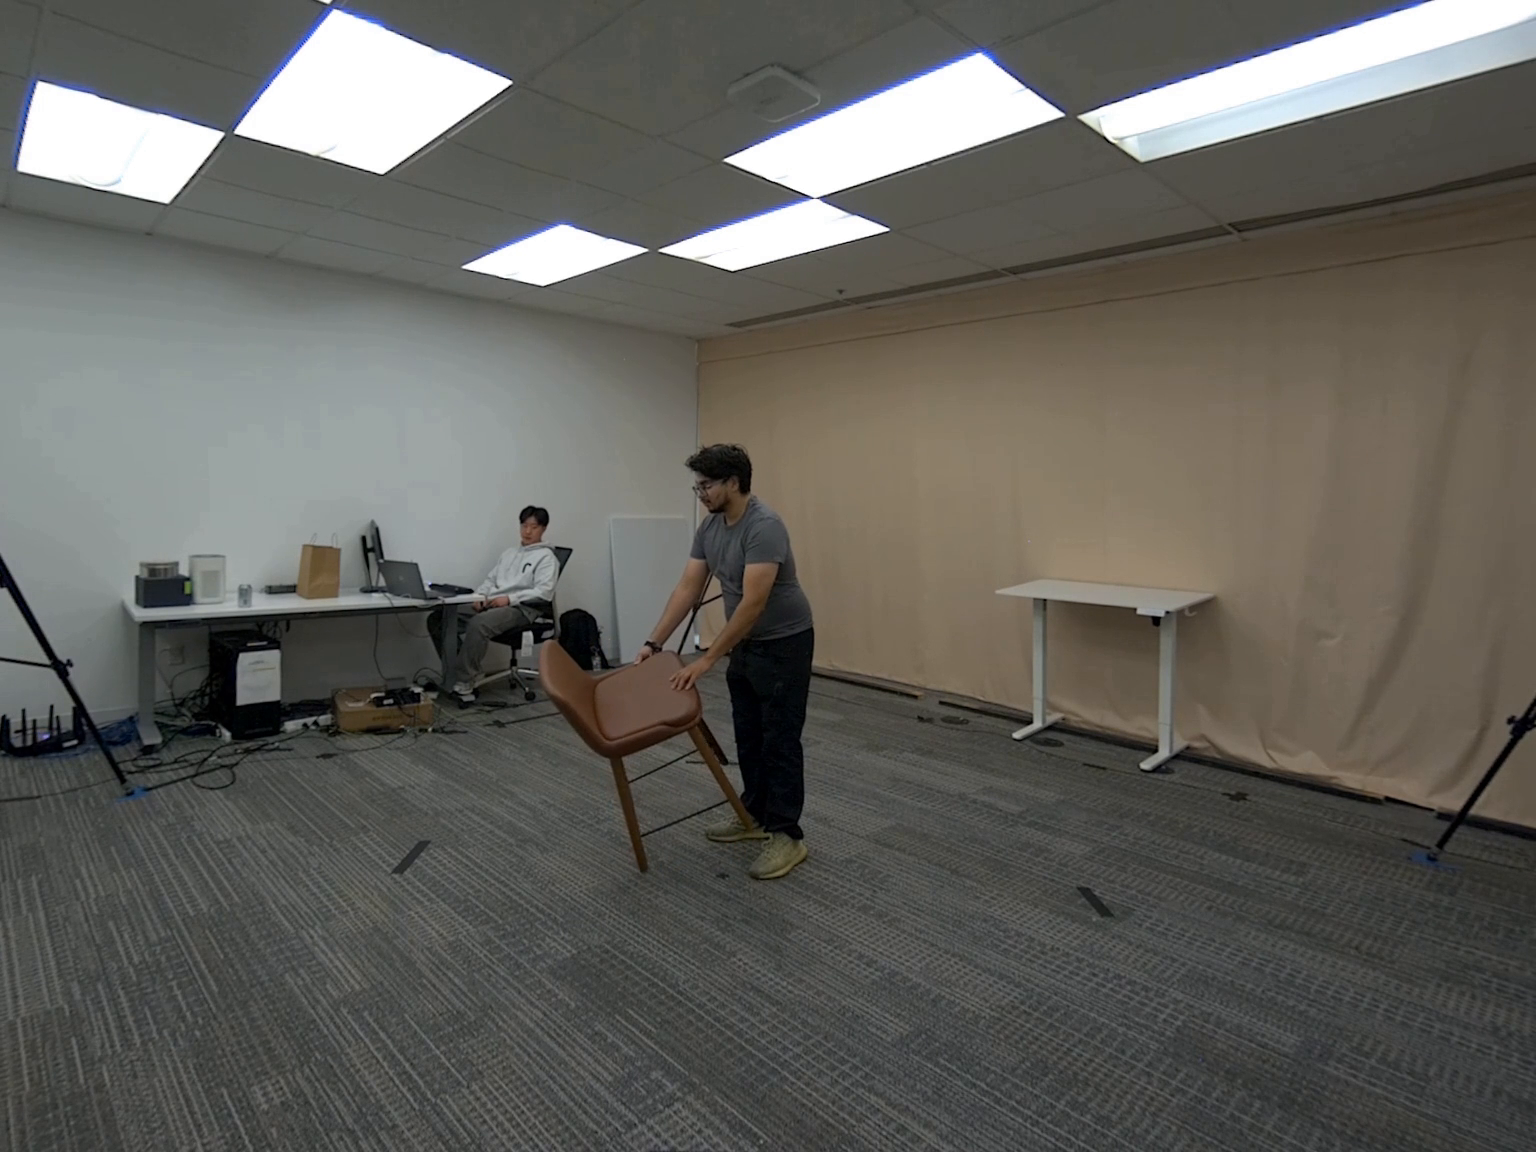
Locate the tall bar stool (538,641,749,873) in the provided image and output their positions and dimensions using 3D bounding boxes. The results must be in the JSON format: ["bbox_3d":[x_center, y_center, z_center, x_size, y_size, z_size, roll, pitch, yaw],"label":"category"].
[{"bbox_3d":[-0.452,0.585,3.107,0.466,0.868,0.469,-23,29,-6],"label":"tall bar stool"}]
